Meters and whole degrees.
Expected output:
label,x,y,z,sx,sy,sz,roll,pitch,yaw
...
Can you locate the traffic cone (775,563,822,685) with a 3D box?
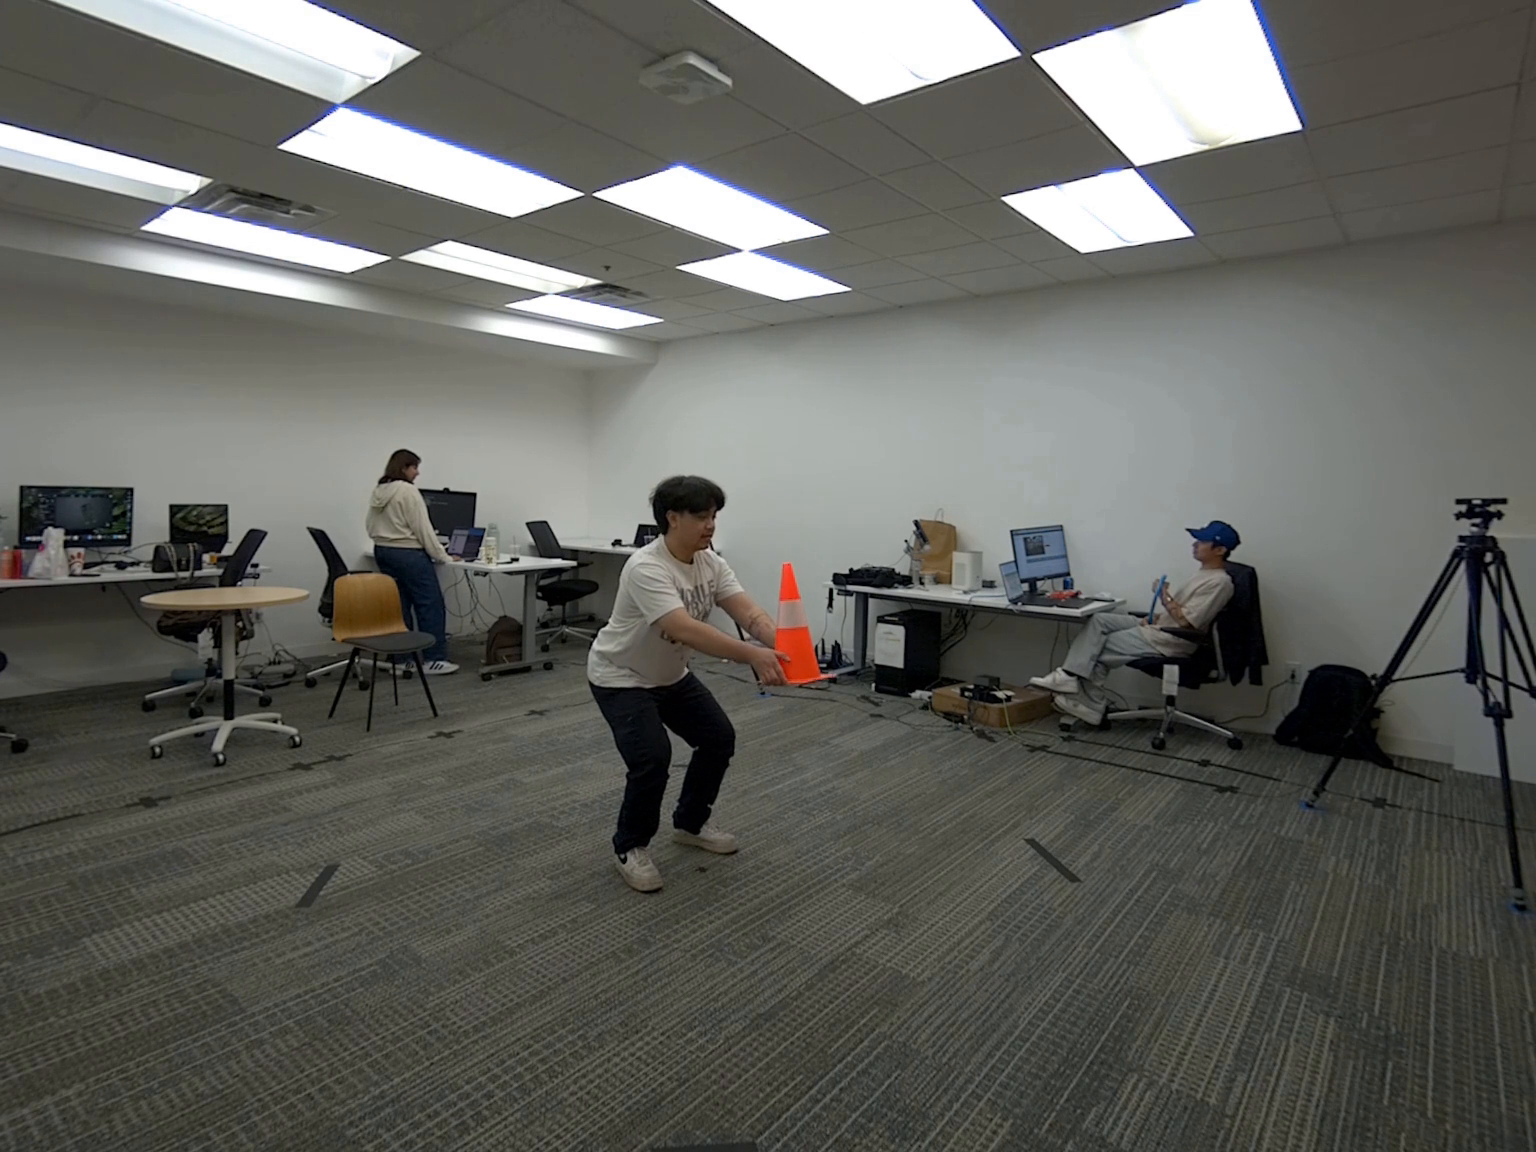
label,x,y,z,sx,sy,sz,roll,pitch,yaw
traffic cone,0.076,0.147,2.818,0.208,0.384,0.200,-3,-2,25
